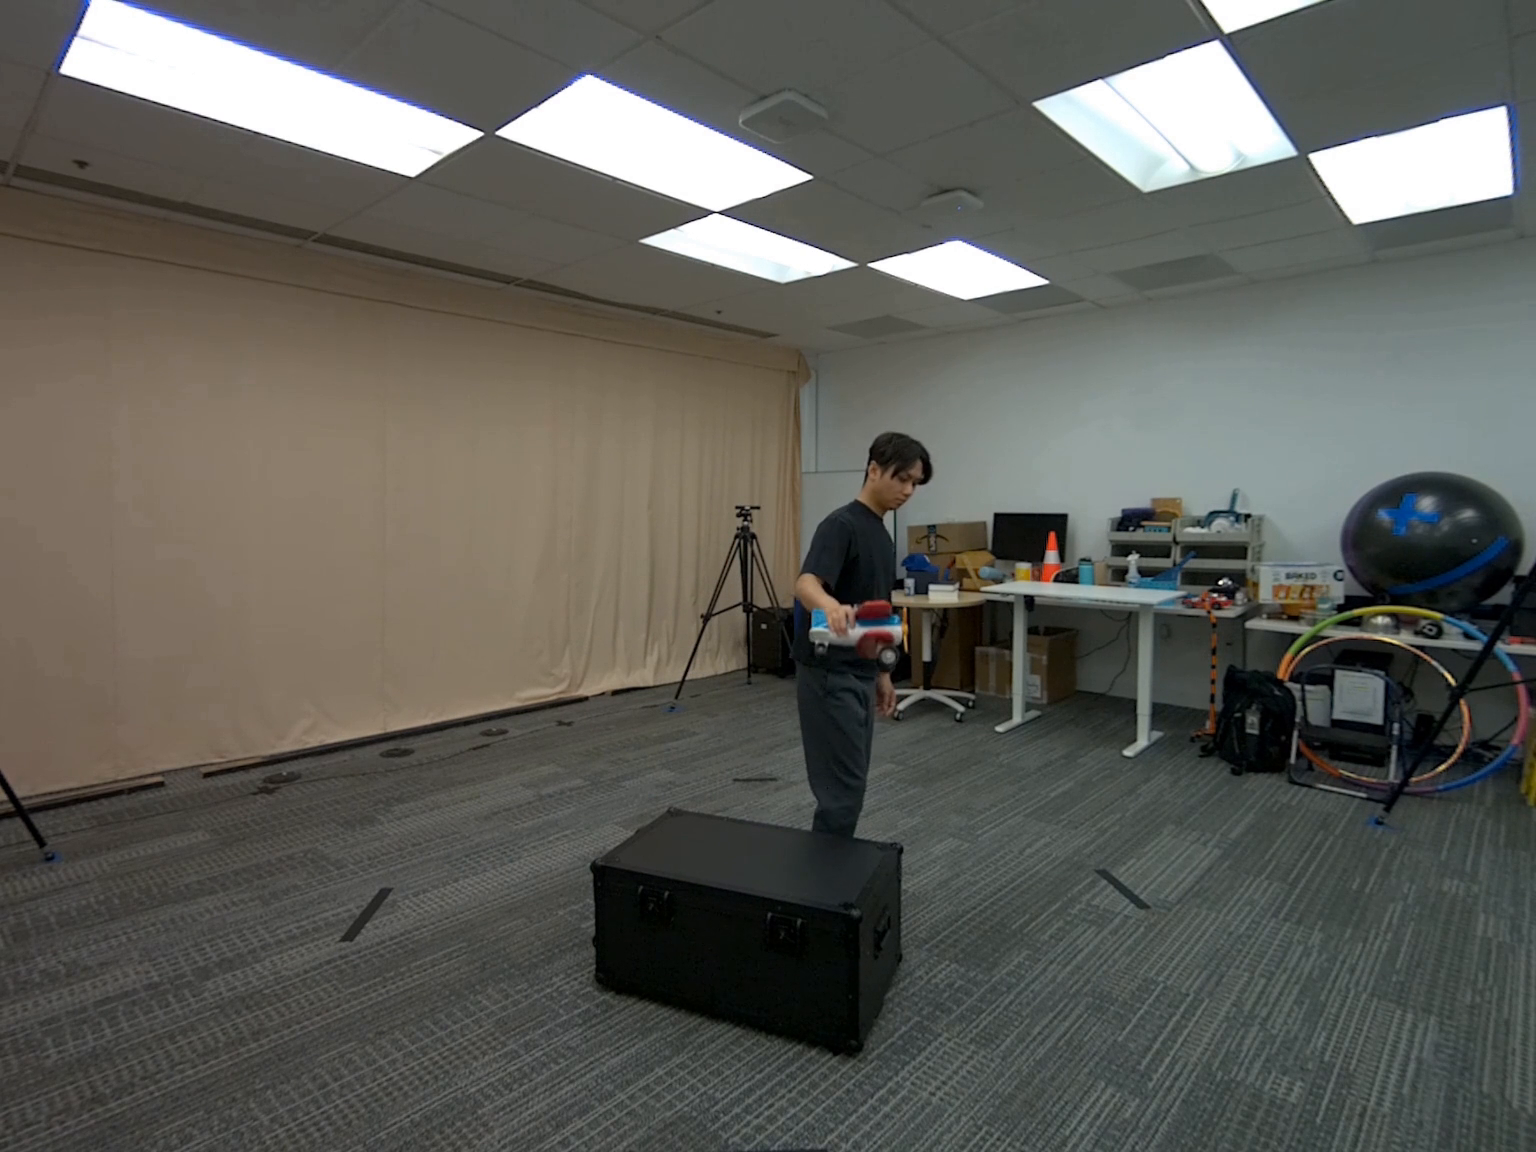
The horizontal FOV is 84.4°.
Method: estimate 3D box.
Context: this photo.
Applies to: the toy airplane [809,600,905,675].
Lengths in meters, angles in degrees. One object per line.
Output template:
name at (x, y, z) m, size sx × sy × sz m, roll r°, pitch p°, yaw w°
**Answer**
toy airplane at (0.246, 0.160, 2.255) m, size 0.254 × 0.157 × 0.255 m, roll 20°, pitch -21°, yaw -19°
